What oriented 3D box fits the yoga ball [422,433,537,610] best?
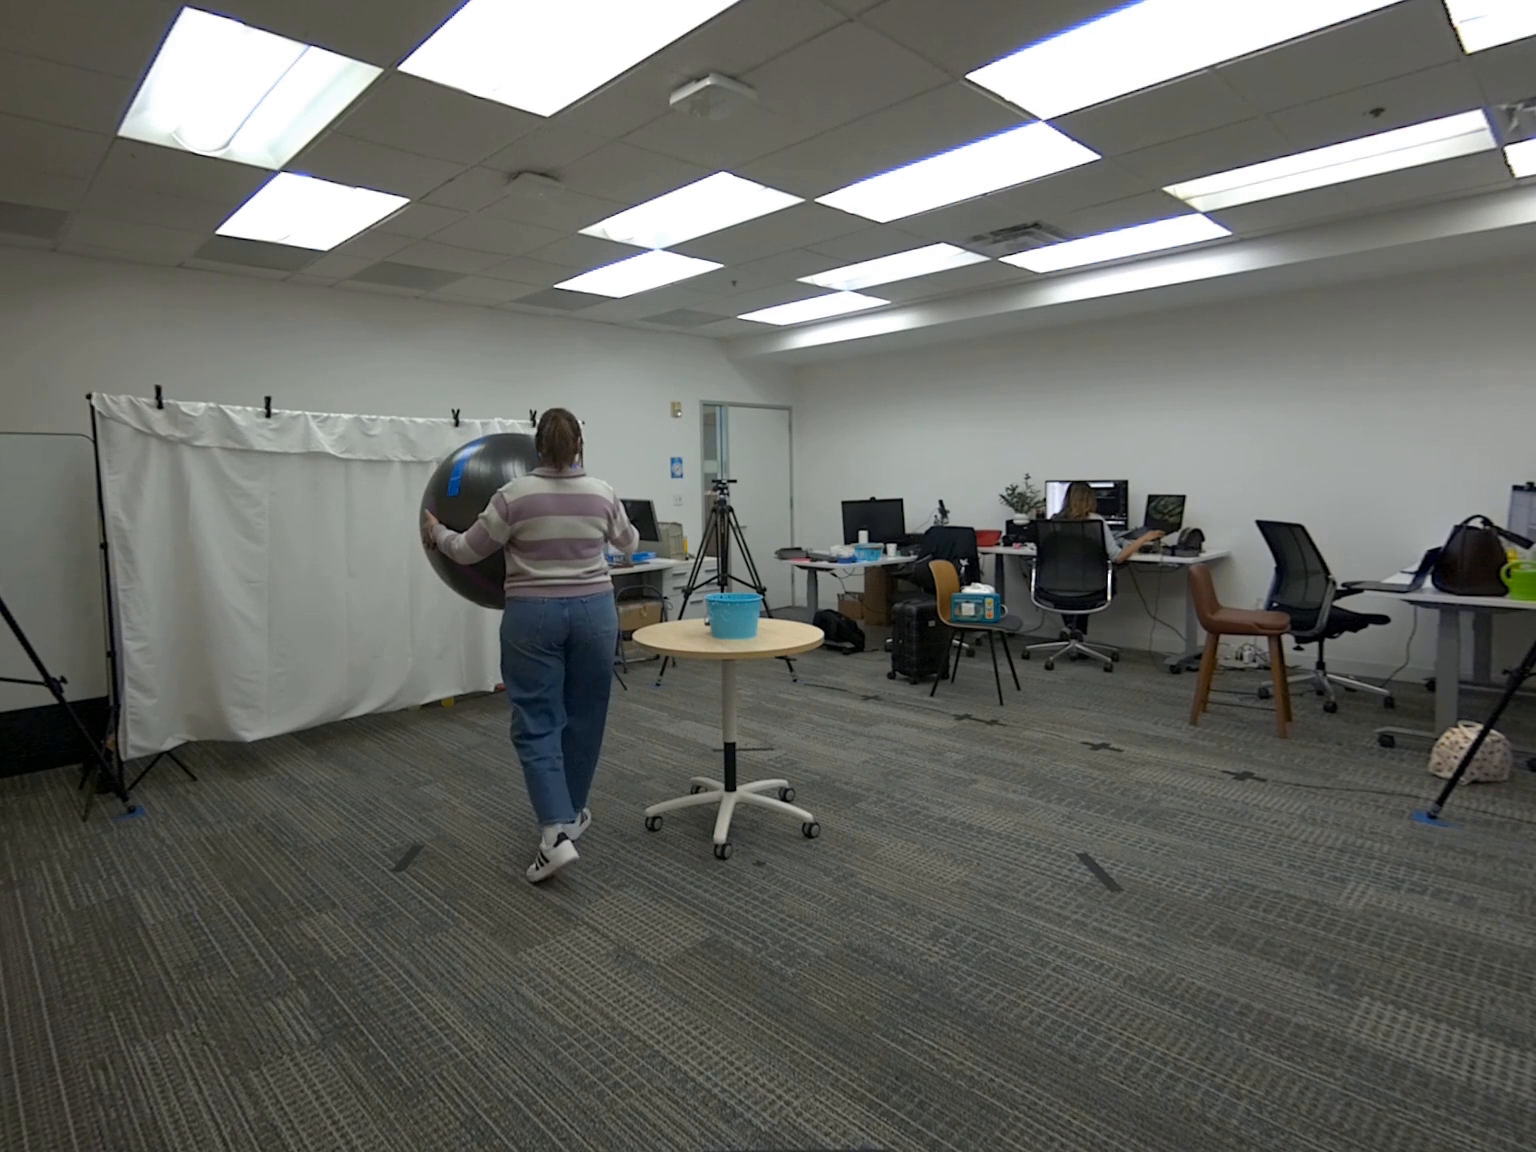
[{"bbox_3d":[-1.112,-0.232,3.680,0.757,0.755,0.762,-1,5,-2],"label":"yoga ball"}]
